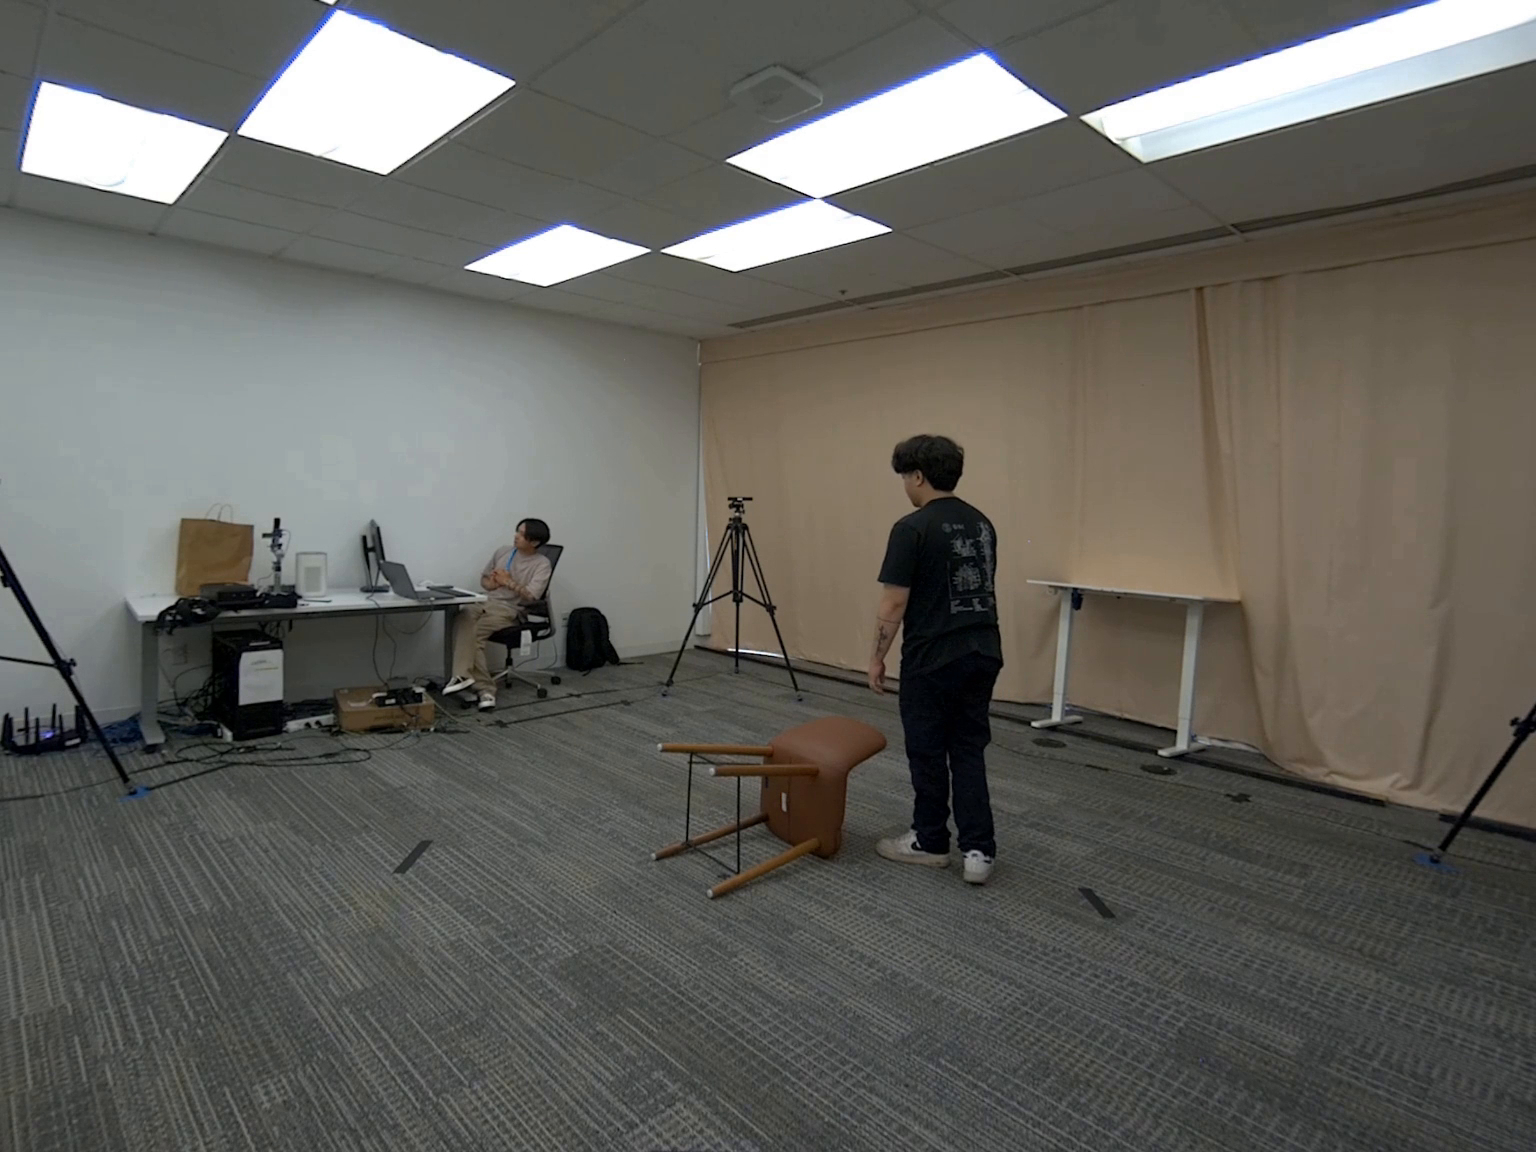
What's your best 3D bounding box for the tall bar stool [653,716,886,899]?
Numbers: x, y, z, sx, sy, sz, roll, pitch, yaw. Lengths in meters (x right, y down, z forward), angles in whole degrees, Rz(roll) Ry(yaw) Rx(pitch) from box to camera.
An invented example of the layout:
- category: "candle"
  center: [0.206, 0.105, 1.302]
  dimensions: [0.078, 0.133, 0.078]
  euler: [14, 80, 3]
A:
- category: "tall bar stool"
  center: [0.021, 0.861, 3.324]
  dimensions: [0.870, 0.466, 0.468]
  euler: [-3, 5, -38]
